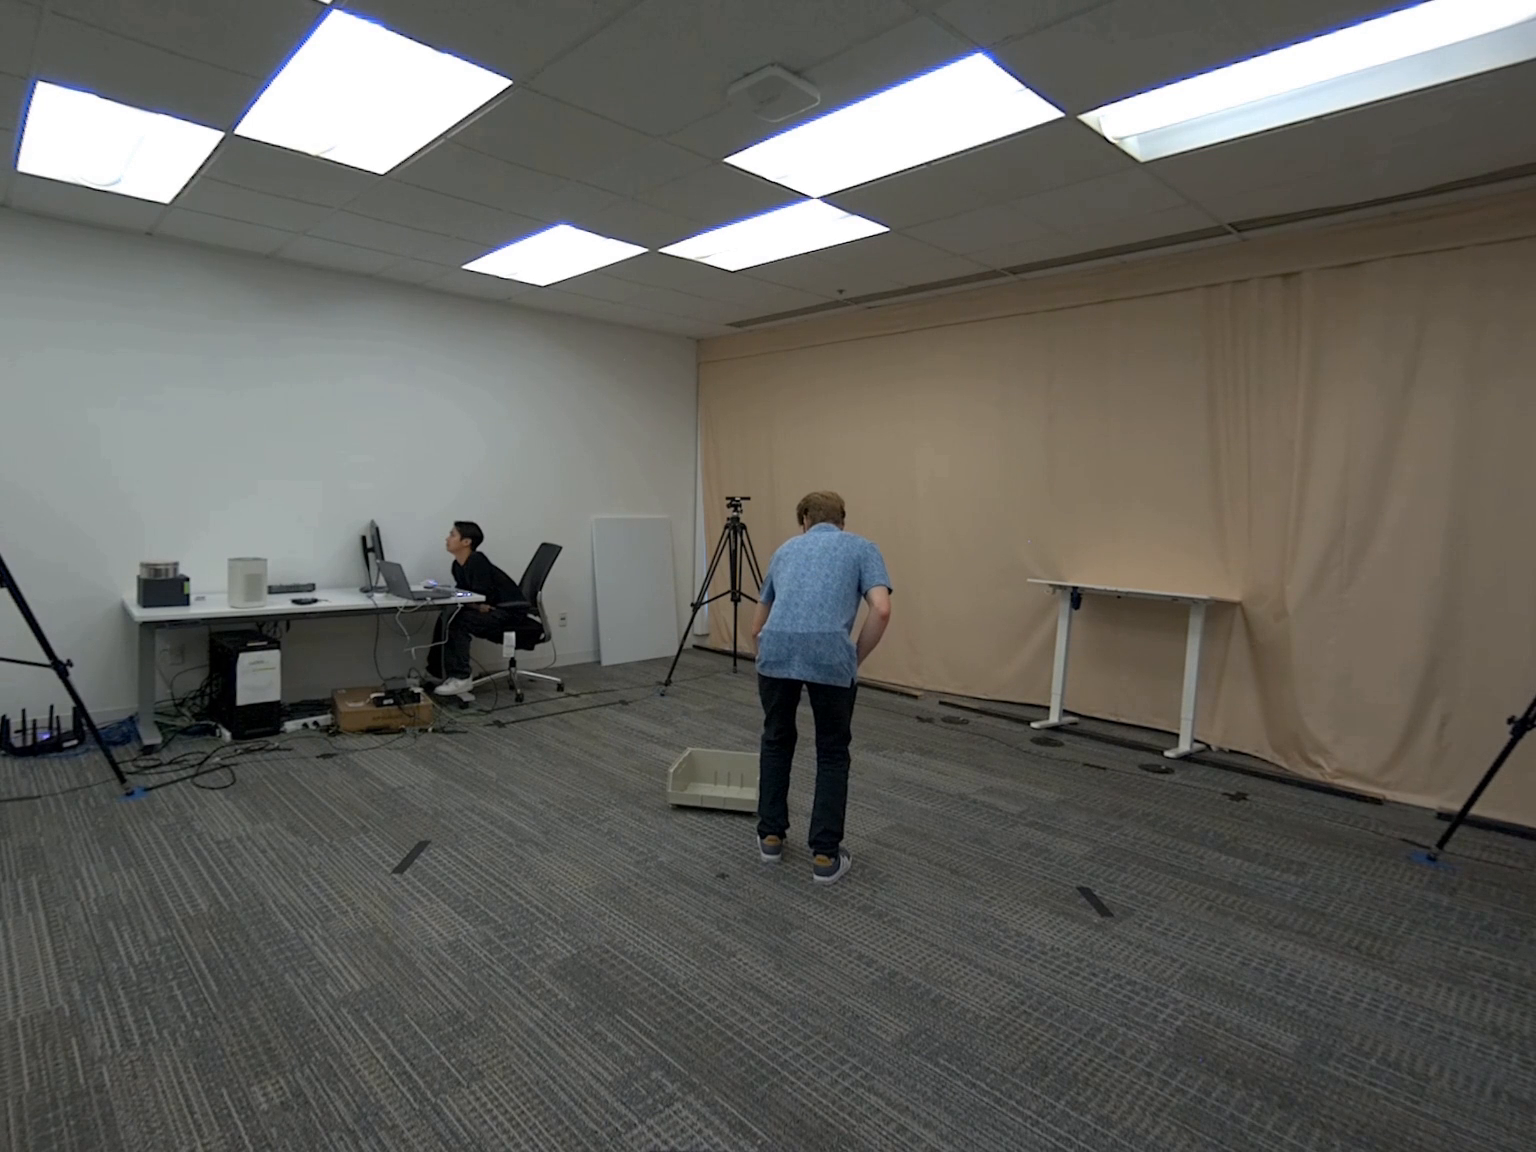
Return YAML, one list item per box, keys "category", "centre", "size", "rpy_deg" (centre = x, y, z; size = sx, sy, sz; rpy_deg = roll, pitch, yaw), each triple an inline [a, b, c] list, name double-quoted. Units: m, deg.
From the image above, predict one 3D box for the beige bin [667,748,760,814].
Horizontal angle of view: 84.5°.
- category: "beige bin"
  centre: [-0.224, 0.950, 3.880]
  size: [0.426, 0.188, 0.375]
  rpy_deg: [1, 4, 10]
